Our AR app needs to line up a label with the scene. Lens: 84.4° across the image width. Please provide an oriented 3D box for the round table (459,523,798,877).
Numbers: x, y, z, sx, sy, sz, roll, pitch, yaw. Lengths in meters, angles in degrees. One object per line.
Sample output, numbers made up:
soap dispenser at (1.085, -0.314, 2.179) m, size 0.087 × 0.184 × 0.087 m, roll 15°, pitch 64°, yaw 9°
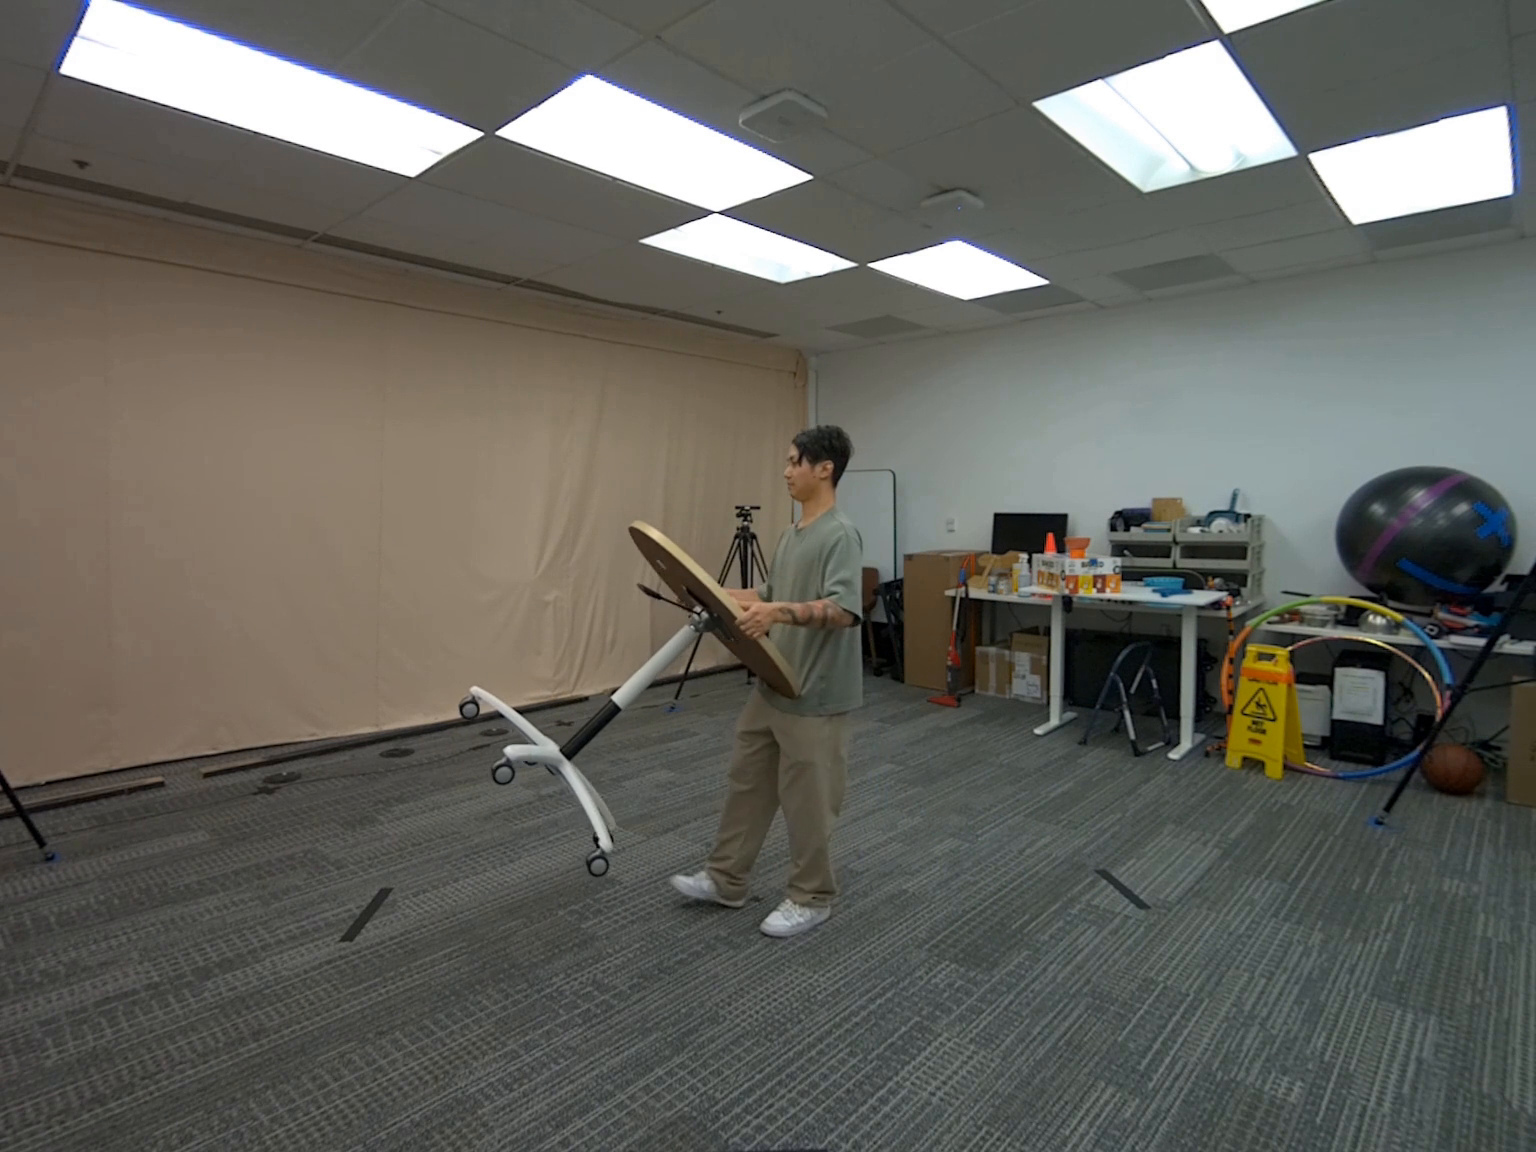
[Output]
round table at (-0.452, 0.386, 2.668) m, size 0.783 × 0.773 × 0.801 m, roll -44°, pitch 15°, yaw -10°
